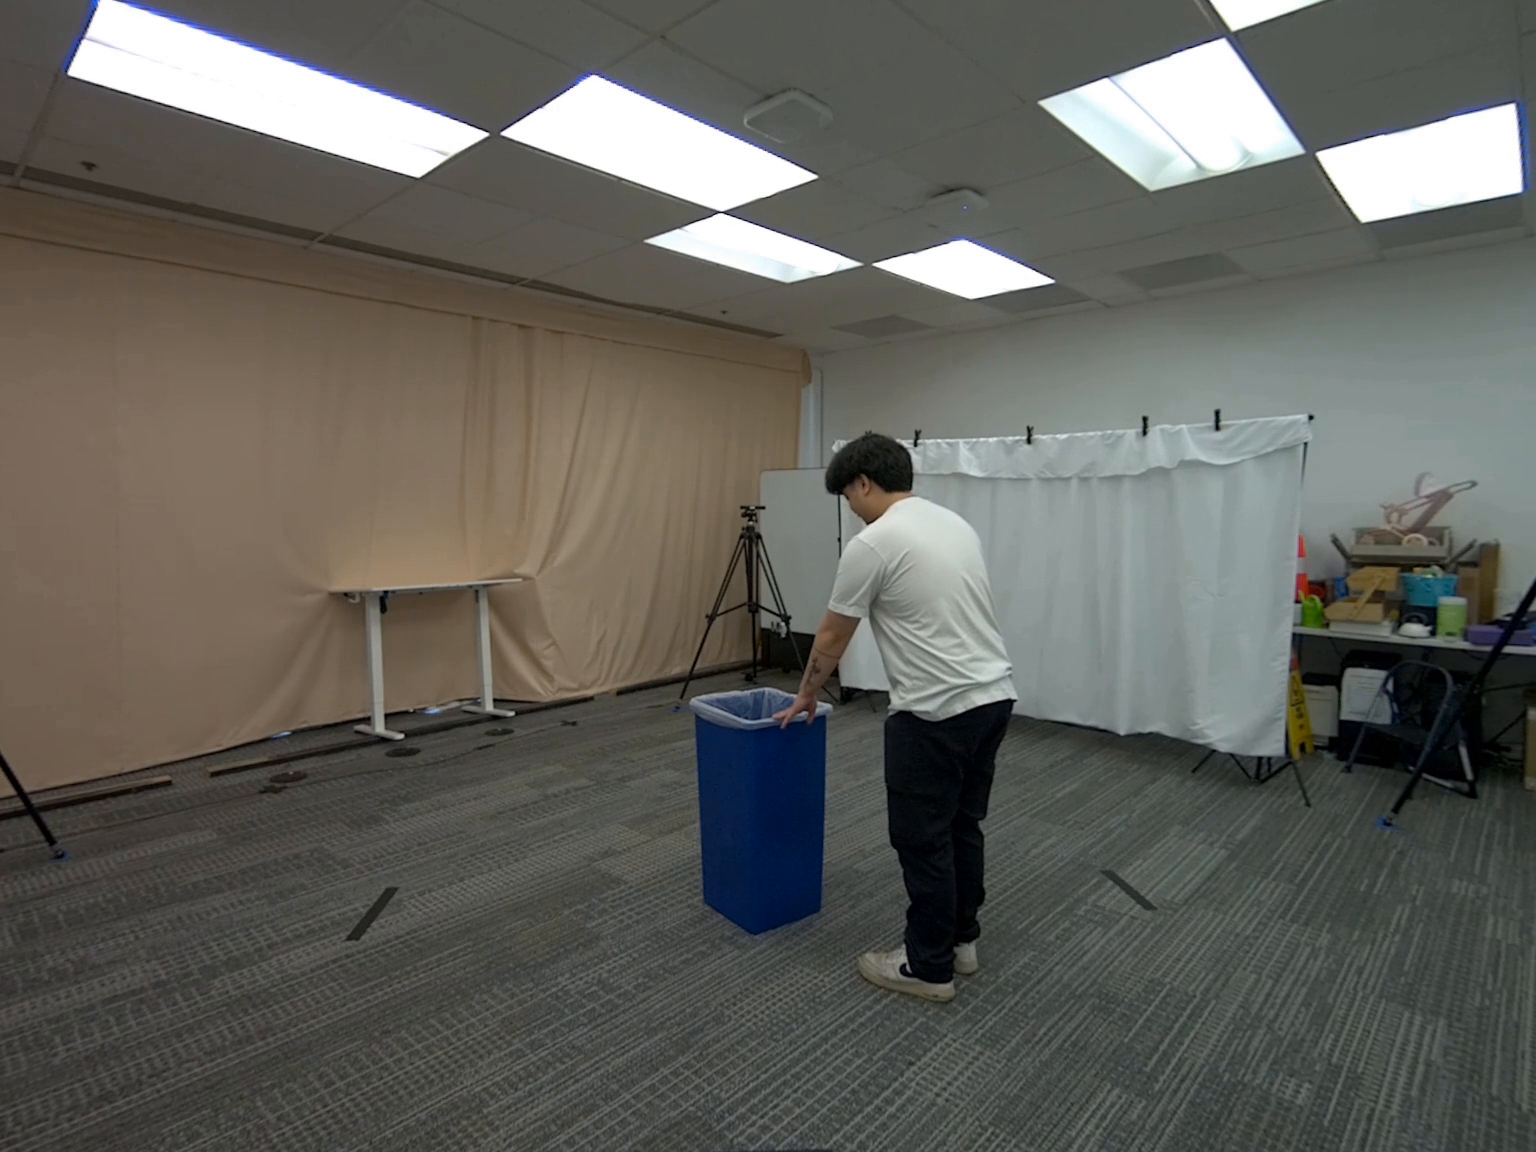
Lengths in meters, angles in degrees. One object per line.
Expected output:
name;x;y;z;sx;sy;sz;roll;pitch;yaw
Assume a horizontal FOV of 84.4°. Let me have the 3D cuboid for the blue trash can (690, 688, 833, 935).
blue trash can;-0.027;0.791;2.906;0.363;0.712;0.390;-2;4;-37
